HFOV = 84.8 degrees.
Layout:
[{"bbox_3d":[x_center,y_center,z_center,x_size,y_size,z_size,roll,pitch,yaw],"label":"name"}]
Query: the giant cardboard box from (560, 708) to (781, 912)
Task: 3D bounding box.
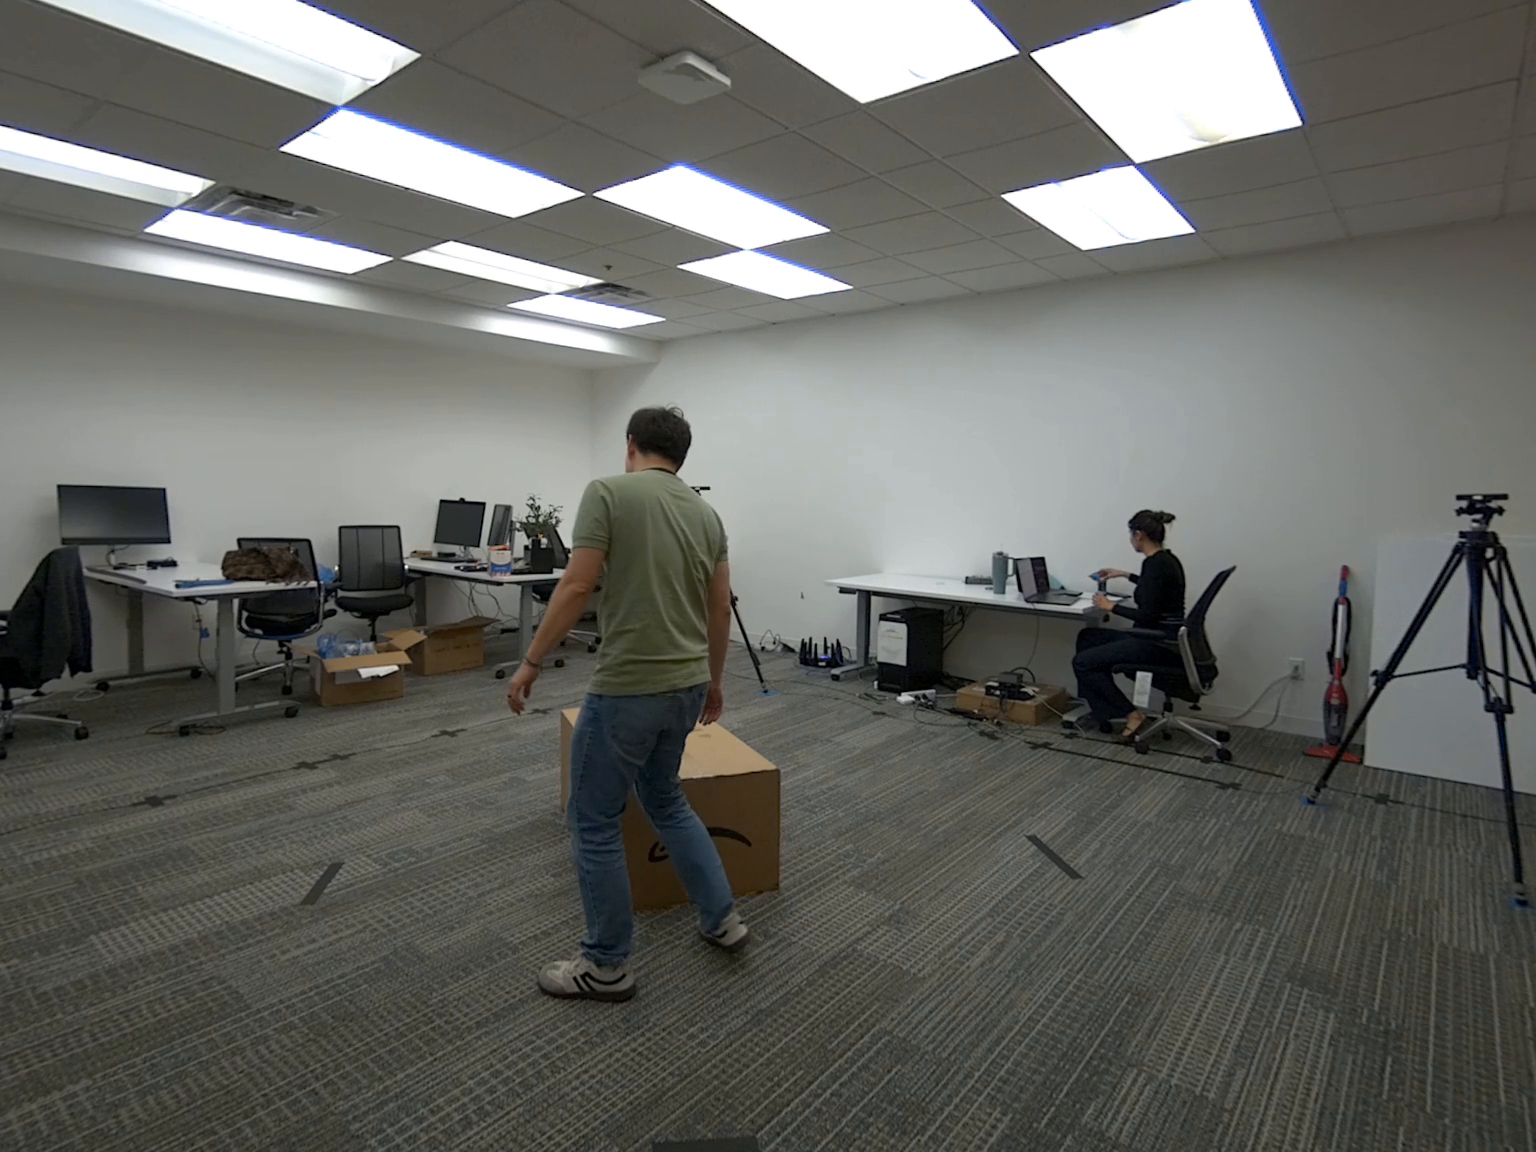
[{"bbox_3d":[-0.434,0.827,3.310,0.565,0.425,1.052,-1,5,-23],"label":"giant cardboard box"}]
